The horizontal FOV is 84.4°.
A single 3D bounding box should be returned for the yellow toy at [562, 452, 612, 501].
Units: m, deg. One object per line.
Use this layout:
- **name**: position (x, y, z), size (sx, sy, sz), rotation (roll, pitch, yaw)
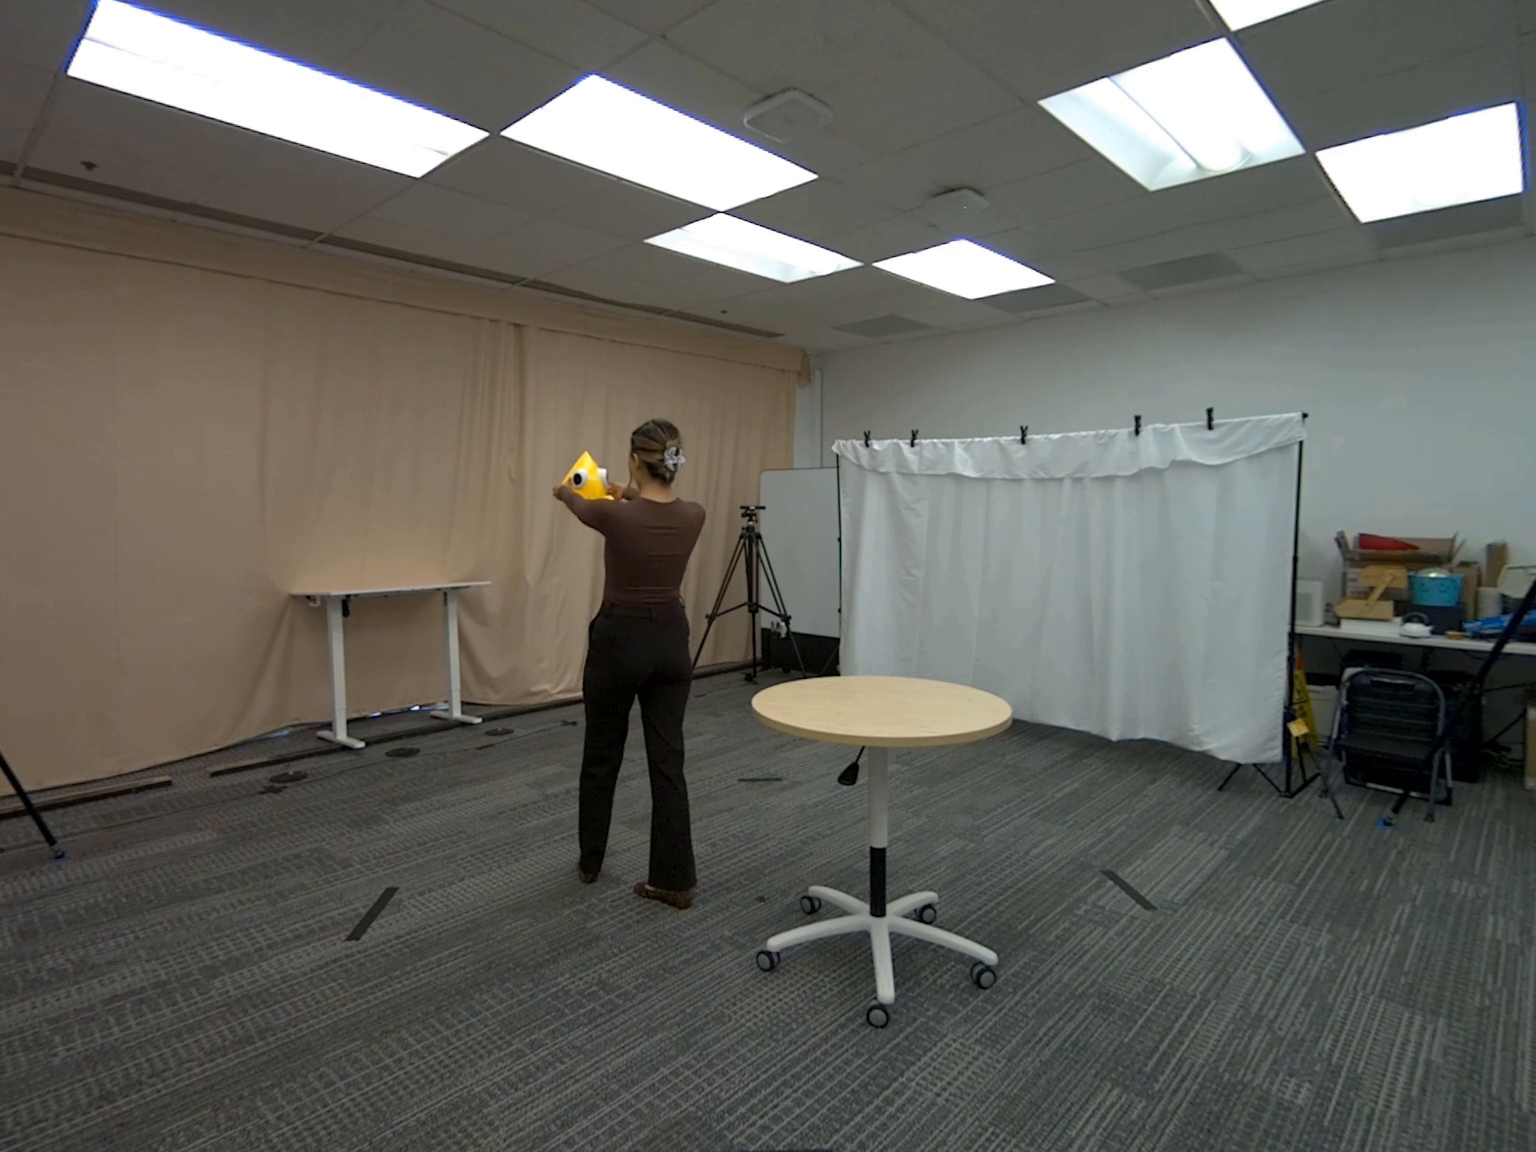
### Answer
- **yellow toy**: position (-0.720, -0.389, 3.420), size (0.199, 0.229, 0.200), rotation (-4, 15, -33)
